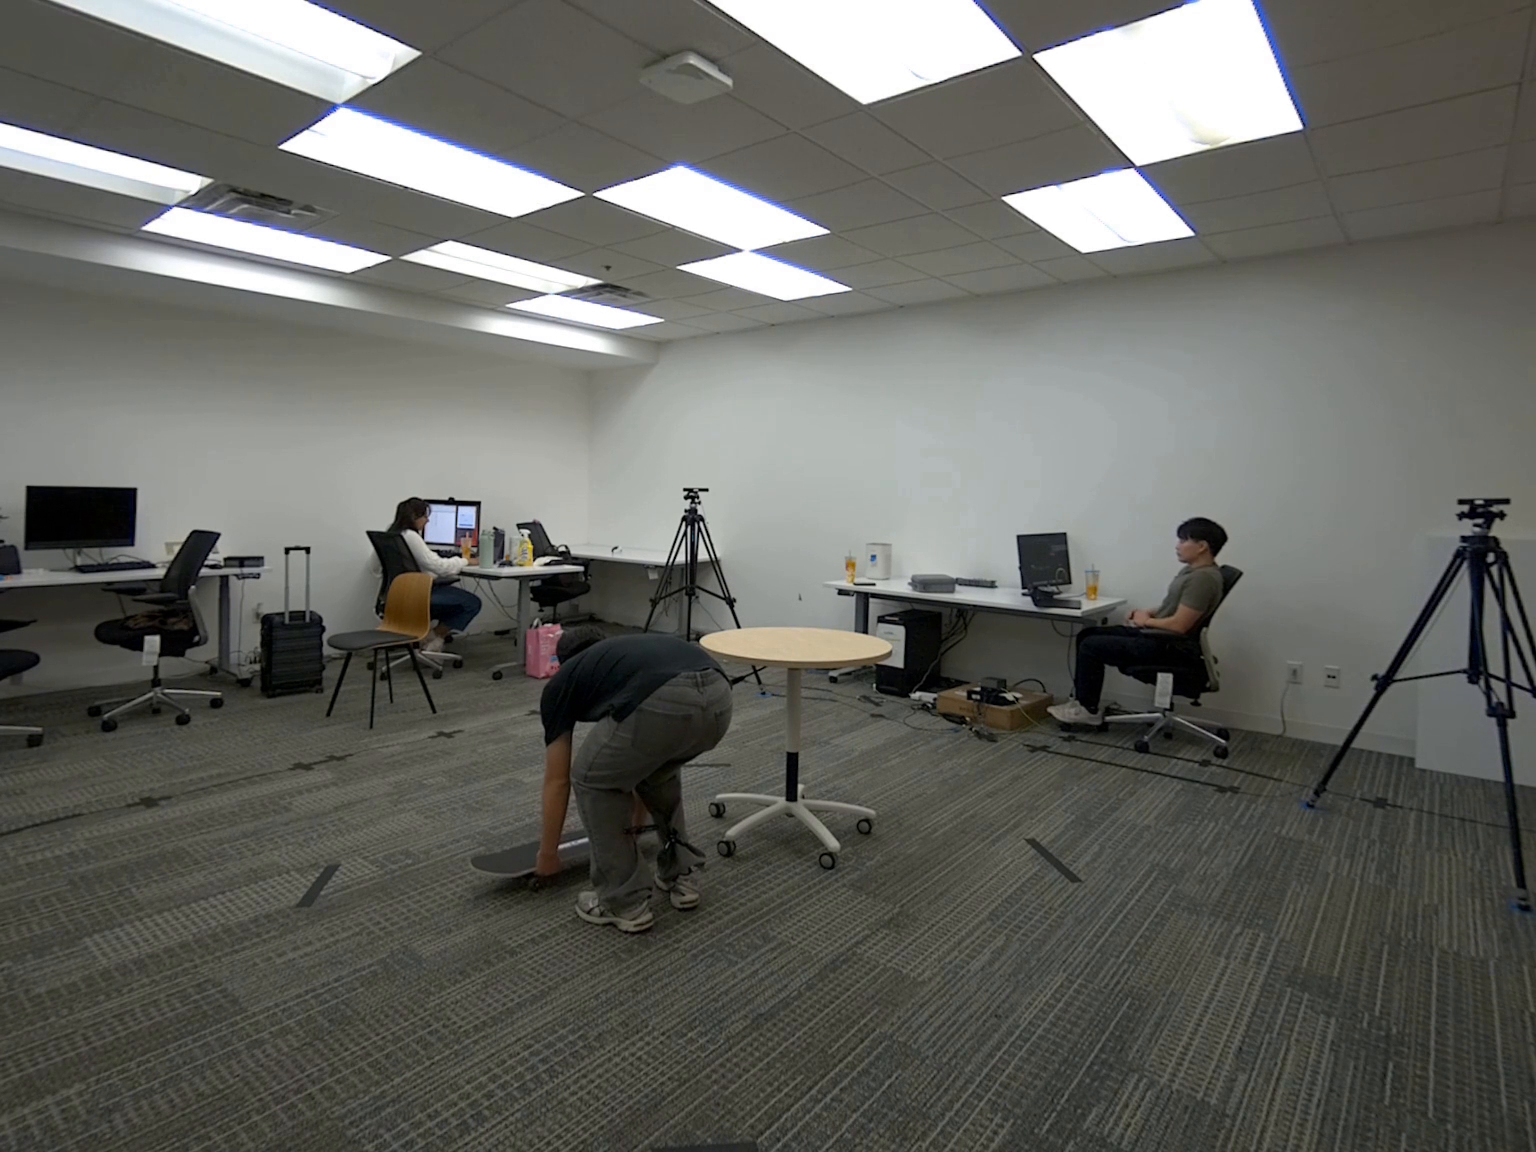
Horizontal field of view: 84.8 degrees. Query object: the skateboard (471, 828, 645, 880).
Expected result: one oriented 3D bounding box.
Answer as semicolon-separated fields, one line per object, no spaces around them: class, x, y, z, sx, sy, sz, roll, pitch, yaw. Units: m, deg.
skateboard;-0.713;1.002;3.101;0.762;0.110;0.200;-3;6;-40
